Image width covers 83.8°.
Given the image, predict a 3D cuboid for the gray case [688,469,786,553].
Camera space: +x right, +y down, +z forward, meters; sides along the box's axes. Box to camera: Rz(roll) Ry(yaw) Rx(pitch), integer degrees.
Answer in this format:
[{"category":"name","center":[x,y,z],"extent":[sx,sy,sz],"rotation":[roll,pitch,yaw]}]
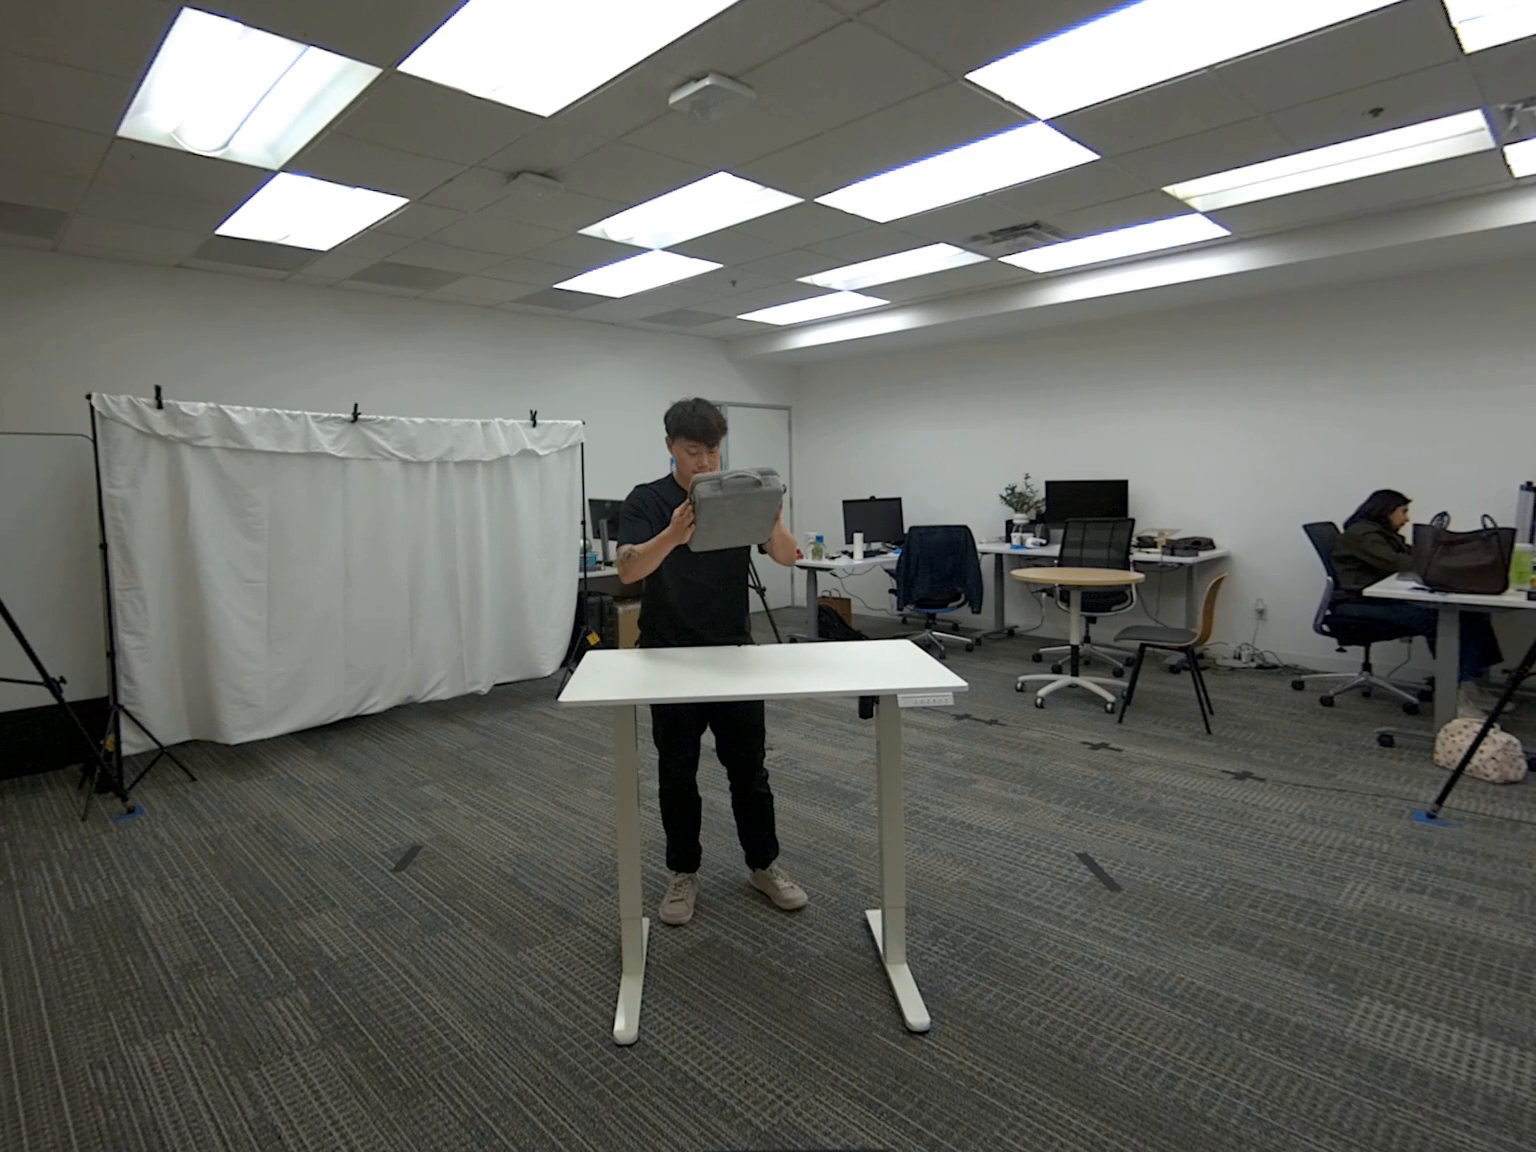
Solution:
[{"category":"gray case","center":[-0.113,-0.182,2.407],"extent":[0.254,0.108,0.255],"rotation":[-9,-35,-15]}]
